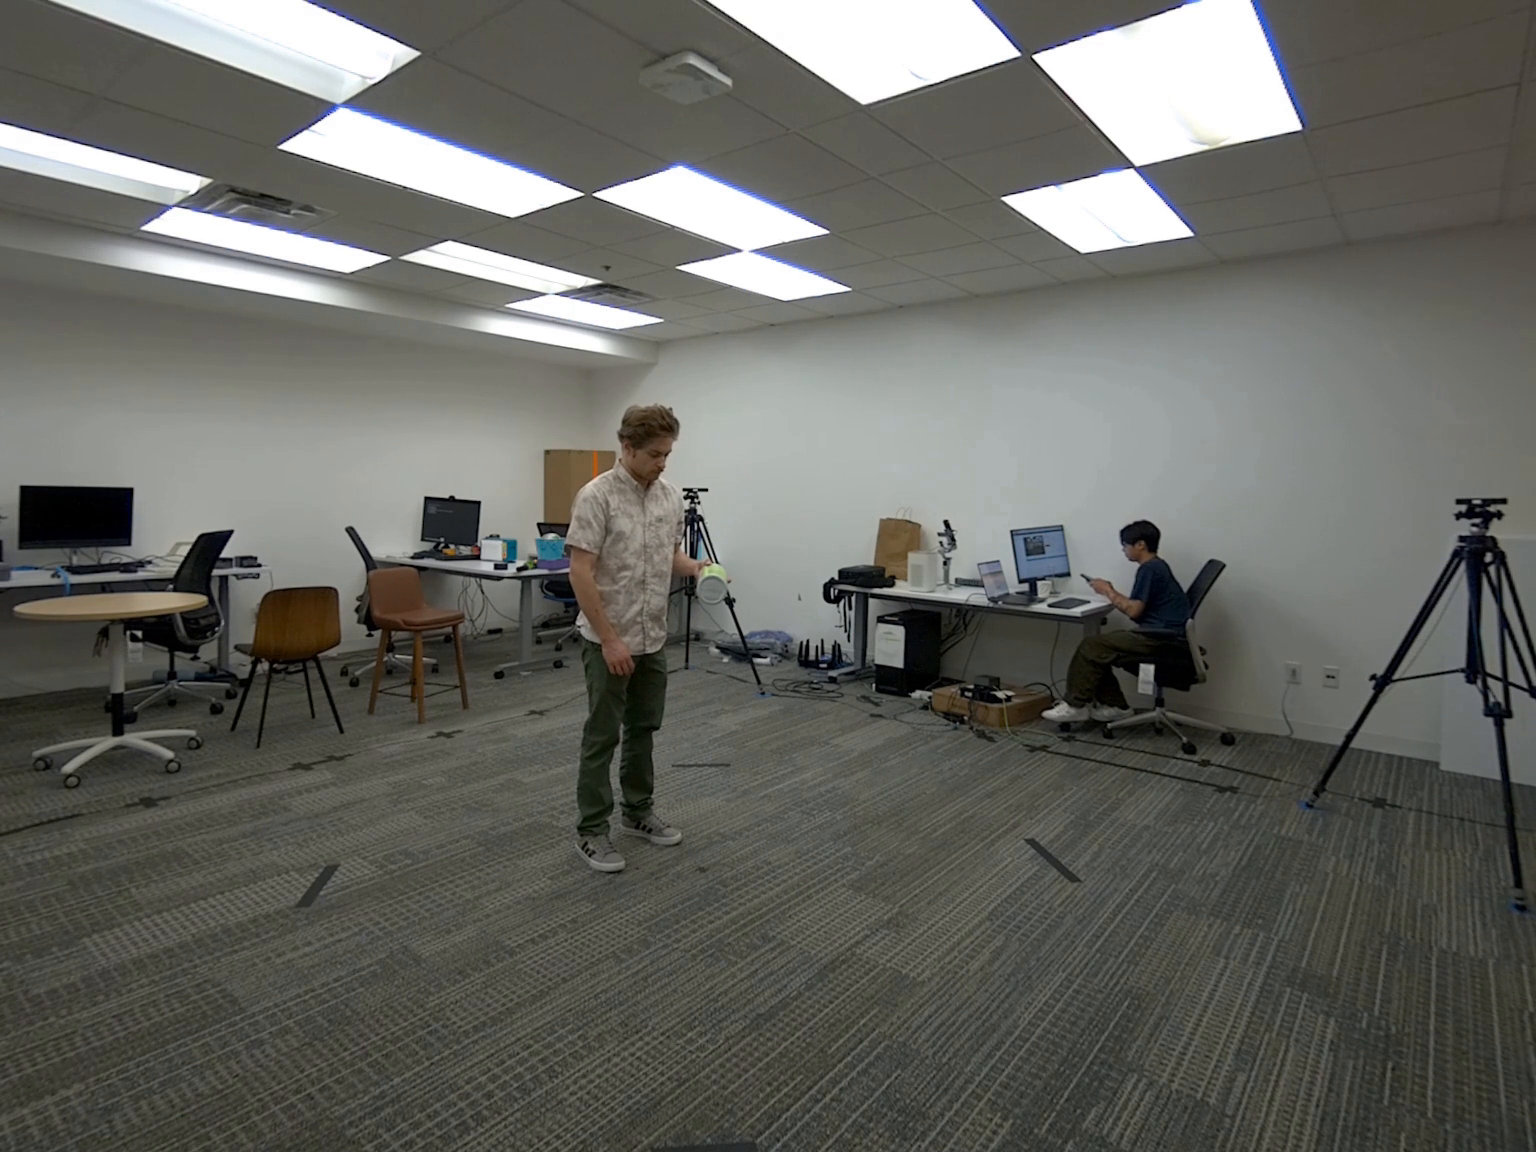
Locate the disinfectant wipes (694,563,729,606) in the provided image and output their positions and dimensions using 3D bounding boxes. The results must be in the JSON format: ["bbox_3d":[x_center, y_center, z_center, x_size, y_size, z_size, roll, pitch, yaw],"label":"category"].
[{"bbox_3d":[-0.208,0.021,3.067,0.118,0.116,0.219,1,12,2],"label":"disinfectant wipes"}]
